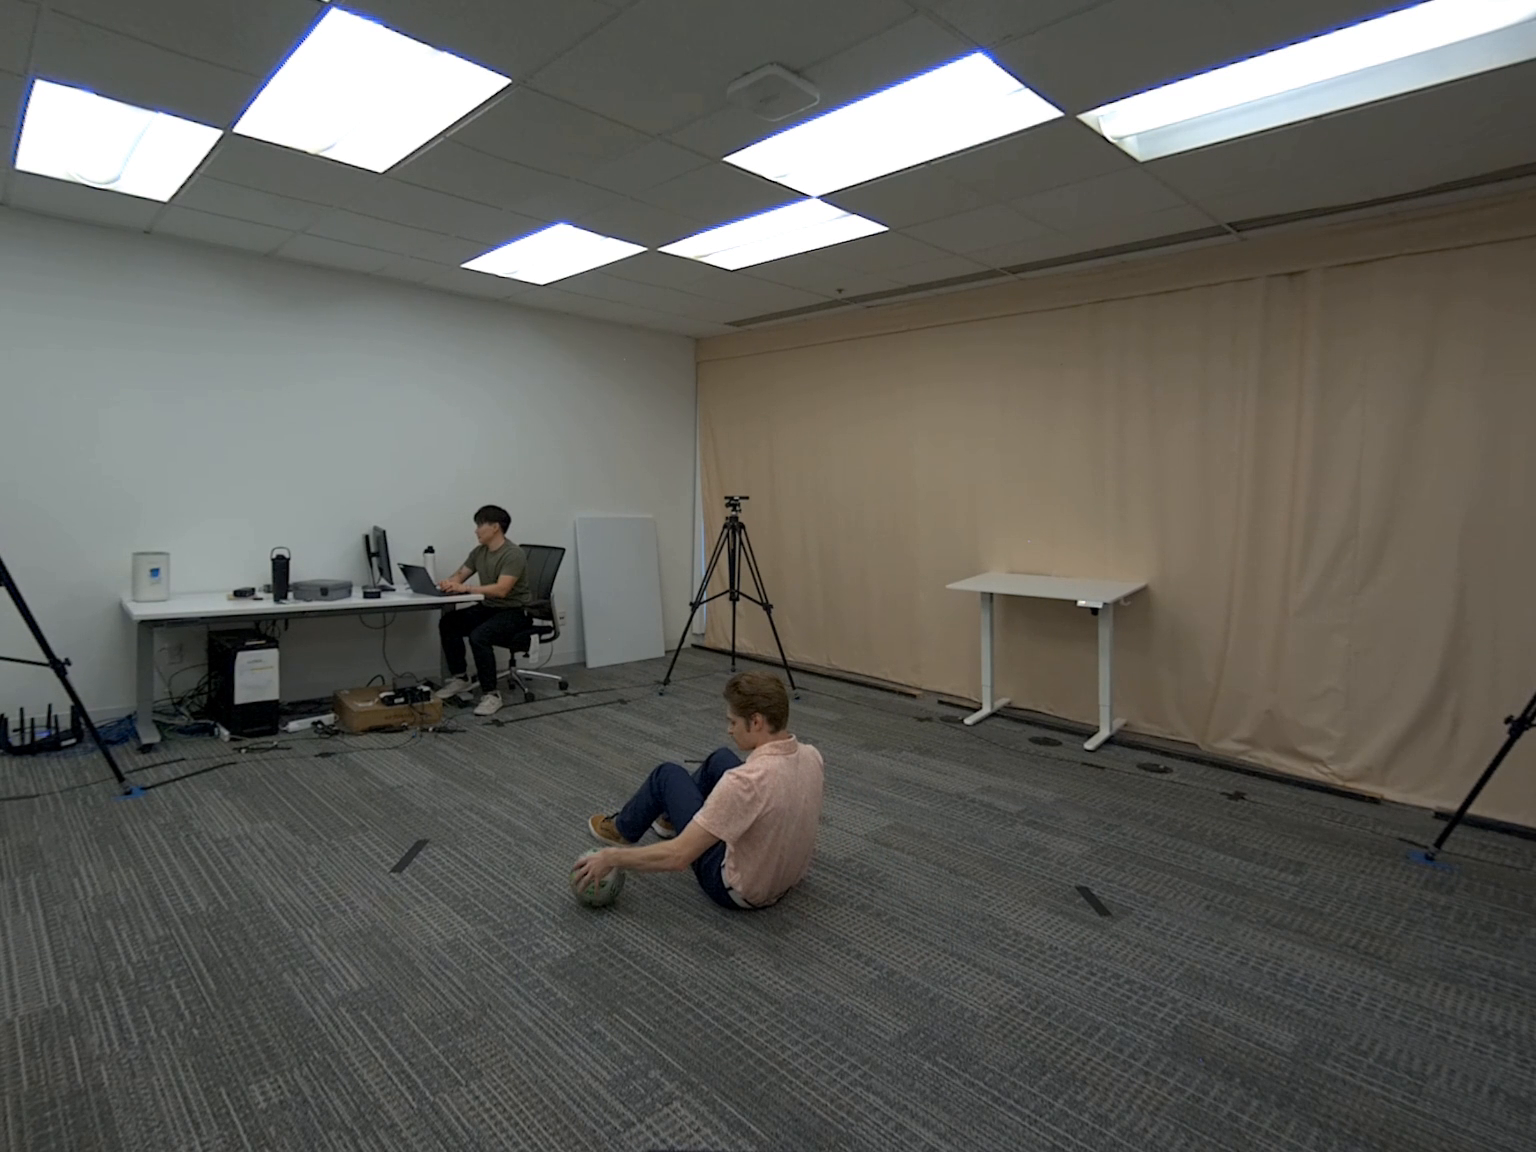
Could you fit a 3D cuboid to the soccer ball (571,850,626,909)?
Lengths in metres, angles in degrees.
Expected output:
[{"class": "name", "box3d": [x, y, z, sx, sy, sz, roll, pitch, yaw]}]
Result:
[{"class": "soccer ball", "box3d": [-0.566, 1.014, 2.886, 0.187, 0.187, 0.188, 1, 4, -1]}]
